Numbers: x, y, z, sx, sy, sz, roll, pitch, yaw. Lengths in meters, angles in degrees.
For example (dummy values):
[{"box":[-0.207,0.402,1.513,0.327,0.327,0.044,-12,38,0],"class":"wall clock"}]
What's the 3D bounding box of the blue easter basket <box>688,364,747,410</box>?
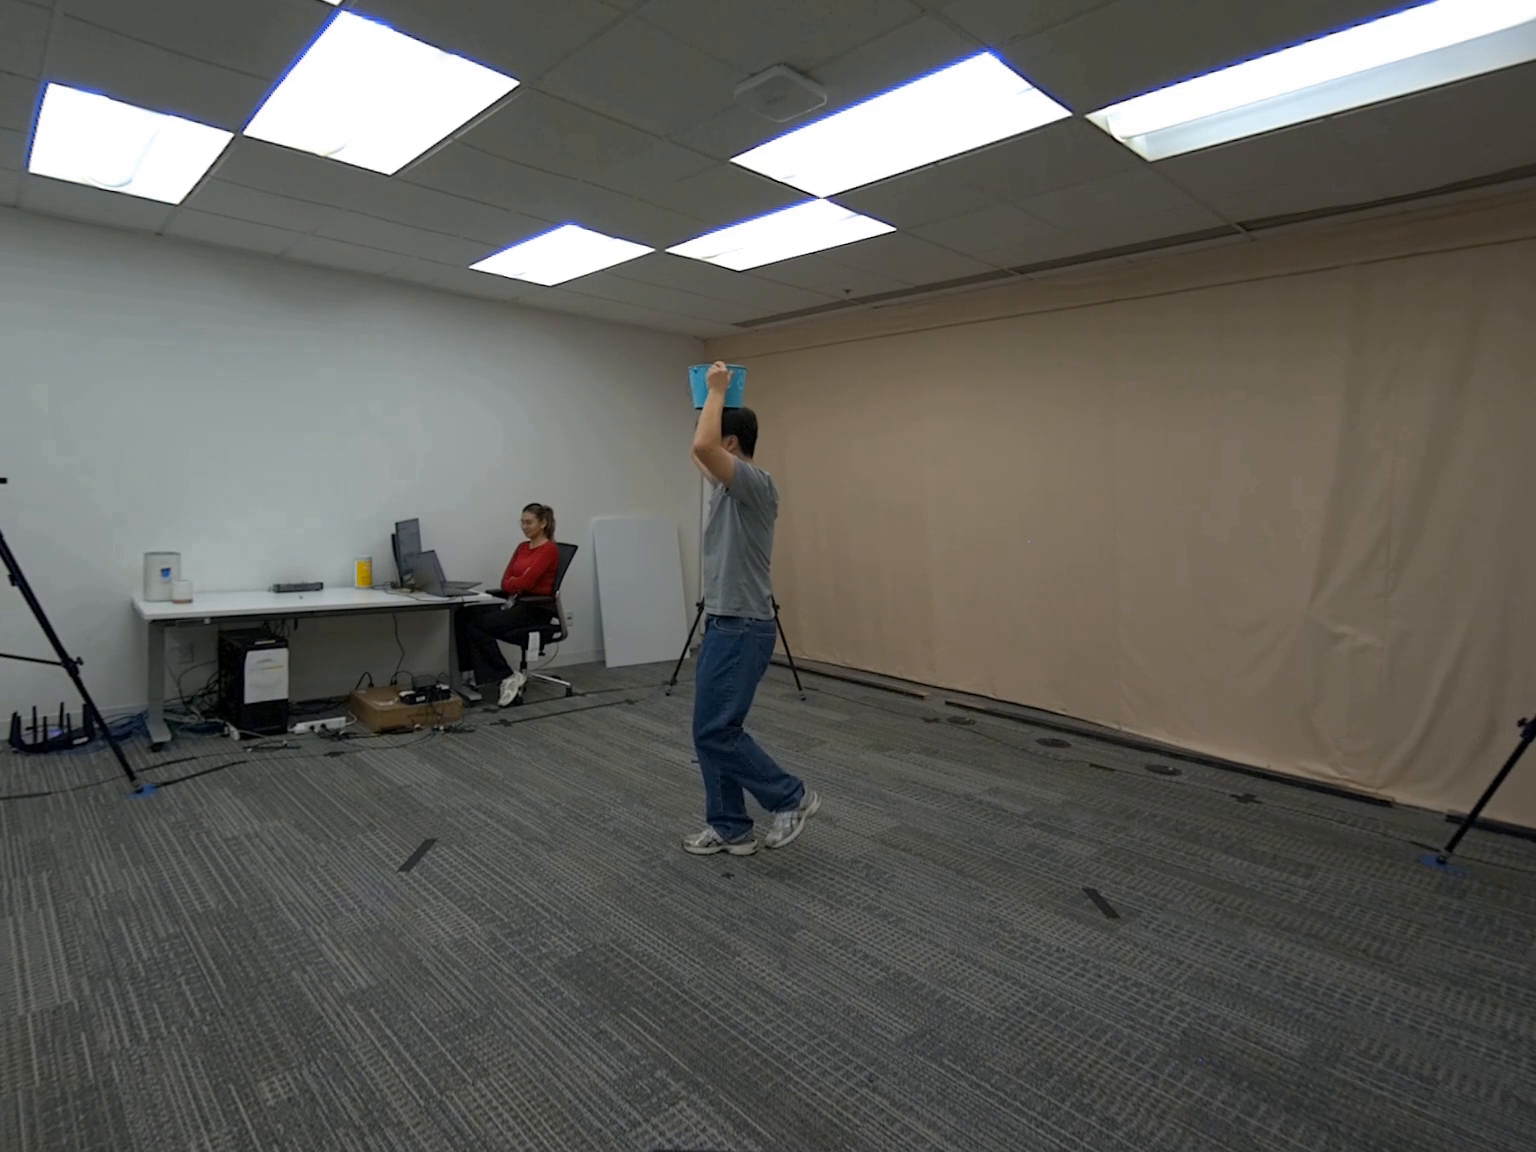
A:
[{"box":[-0.195,-0.721,3.245,0.243,0.155,0.244,1,5,-1],"class":"blue easter basket"}]
